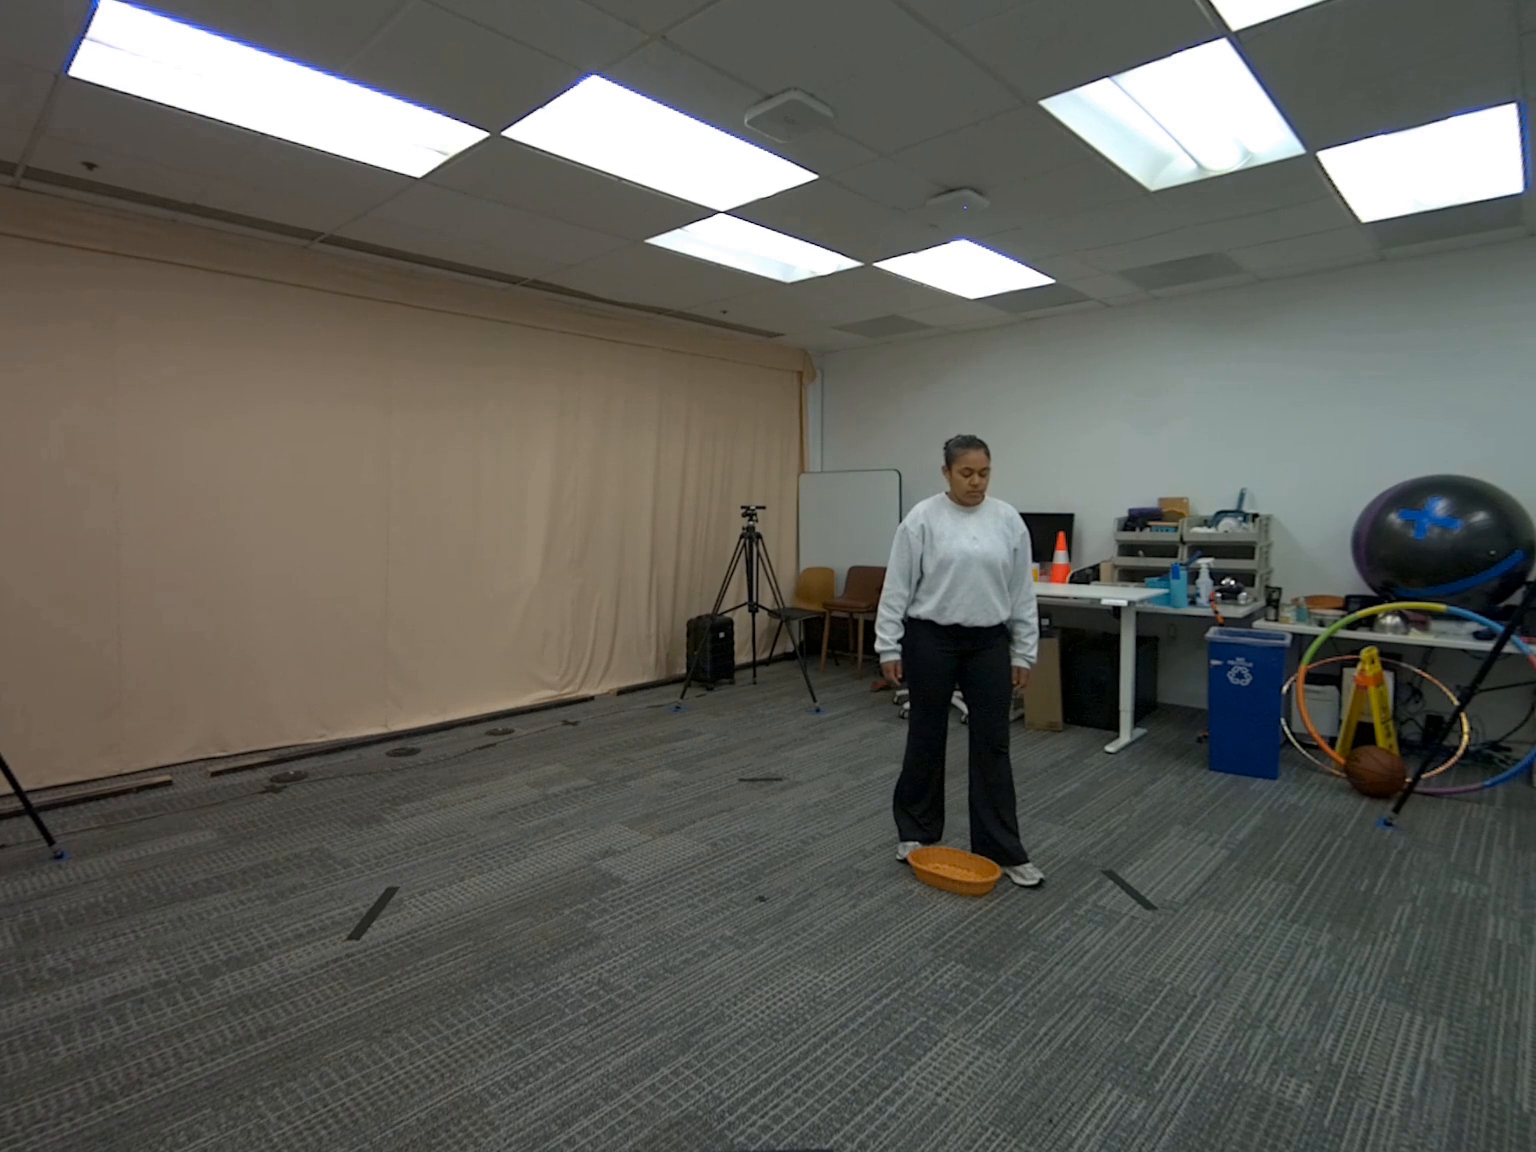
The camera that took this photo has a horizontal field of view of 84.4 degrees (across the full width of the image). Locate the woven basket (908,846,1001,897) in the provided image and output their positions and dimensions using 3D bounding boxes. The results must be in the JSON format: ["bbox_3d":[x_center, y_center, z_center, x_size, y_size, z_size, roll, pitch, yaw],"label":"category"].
[{"bbox_3d":[0.681,1.085,3.117,0.362,0.073,0.245,3,6,43],"label":"woven basket"}]
